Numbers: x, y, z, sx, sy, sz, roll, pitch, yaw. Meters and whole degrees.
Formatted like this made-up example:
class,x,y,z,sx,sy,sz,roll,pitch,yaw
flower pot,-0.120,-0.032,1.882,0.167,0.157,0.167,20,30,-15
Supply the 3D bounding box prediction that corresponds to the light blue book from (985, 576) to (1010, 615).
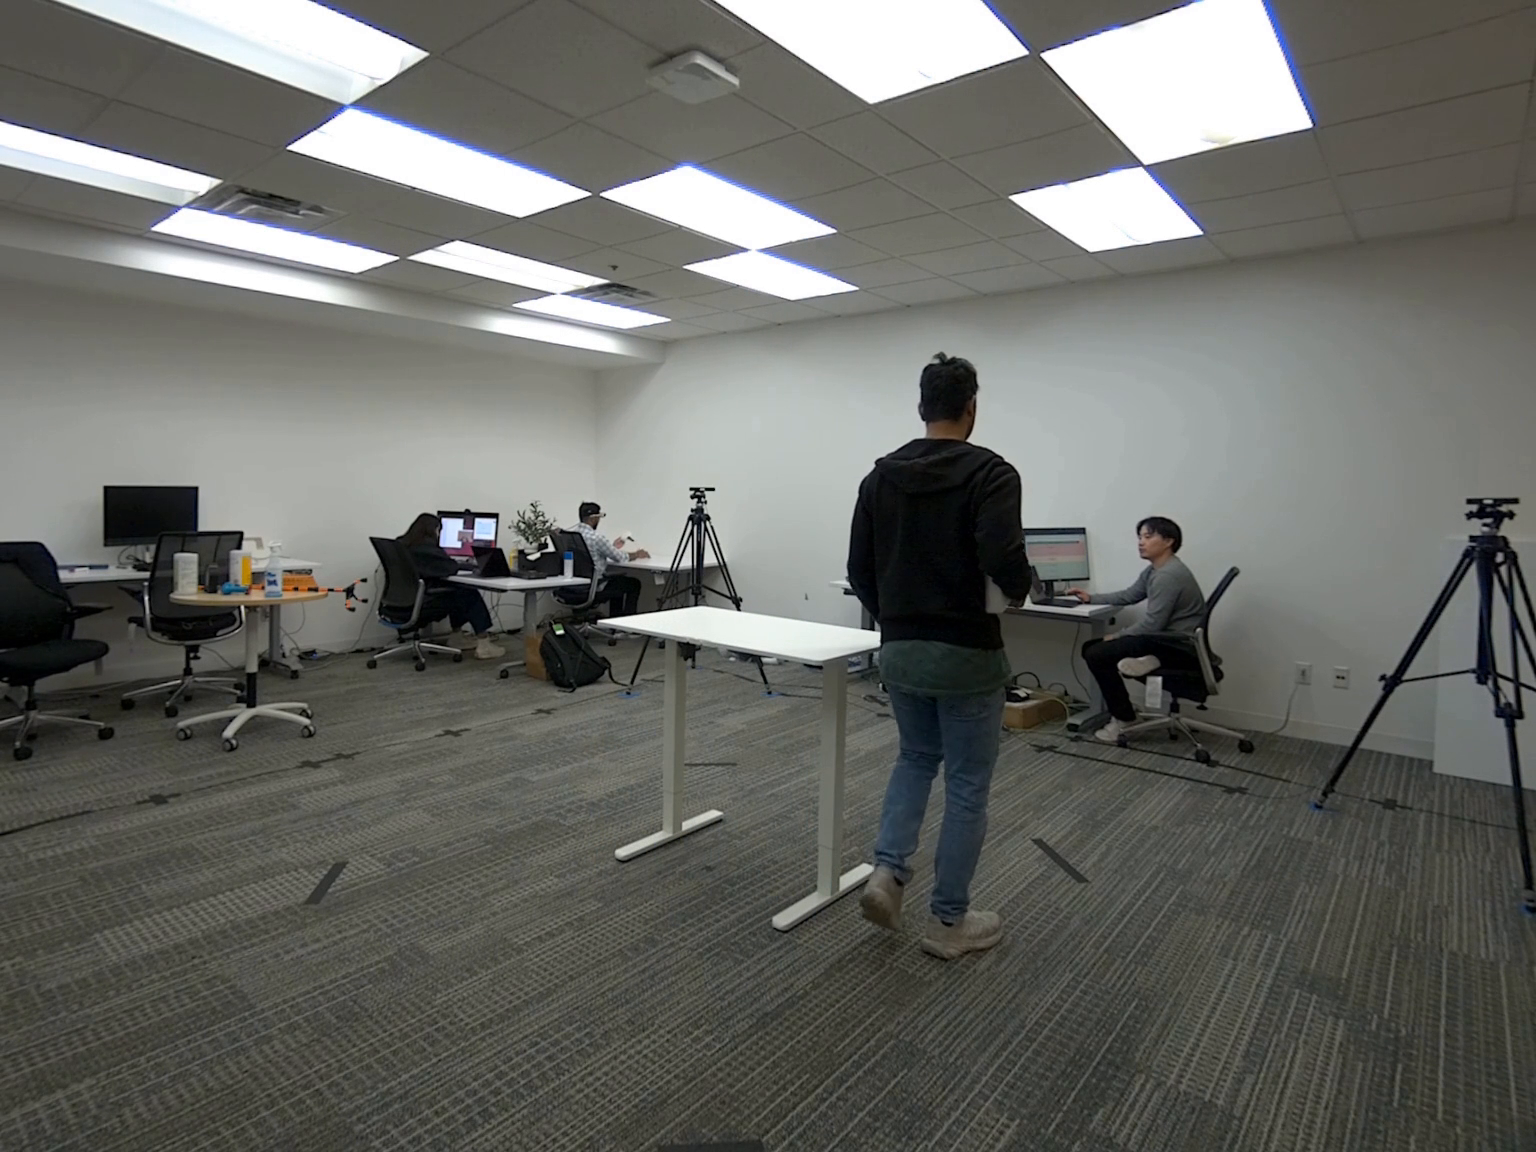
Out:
class,x,y,z,sx,sy,sz,roll,pitch,yaw
light blue book,0.672,-0.013,2.528,0.060,0.190,0.257,-6,9,28
